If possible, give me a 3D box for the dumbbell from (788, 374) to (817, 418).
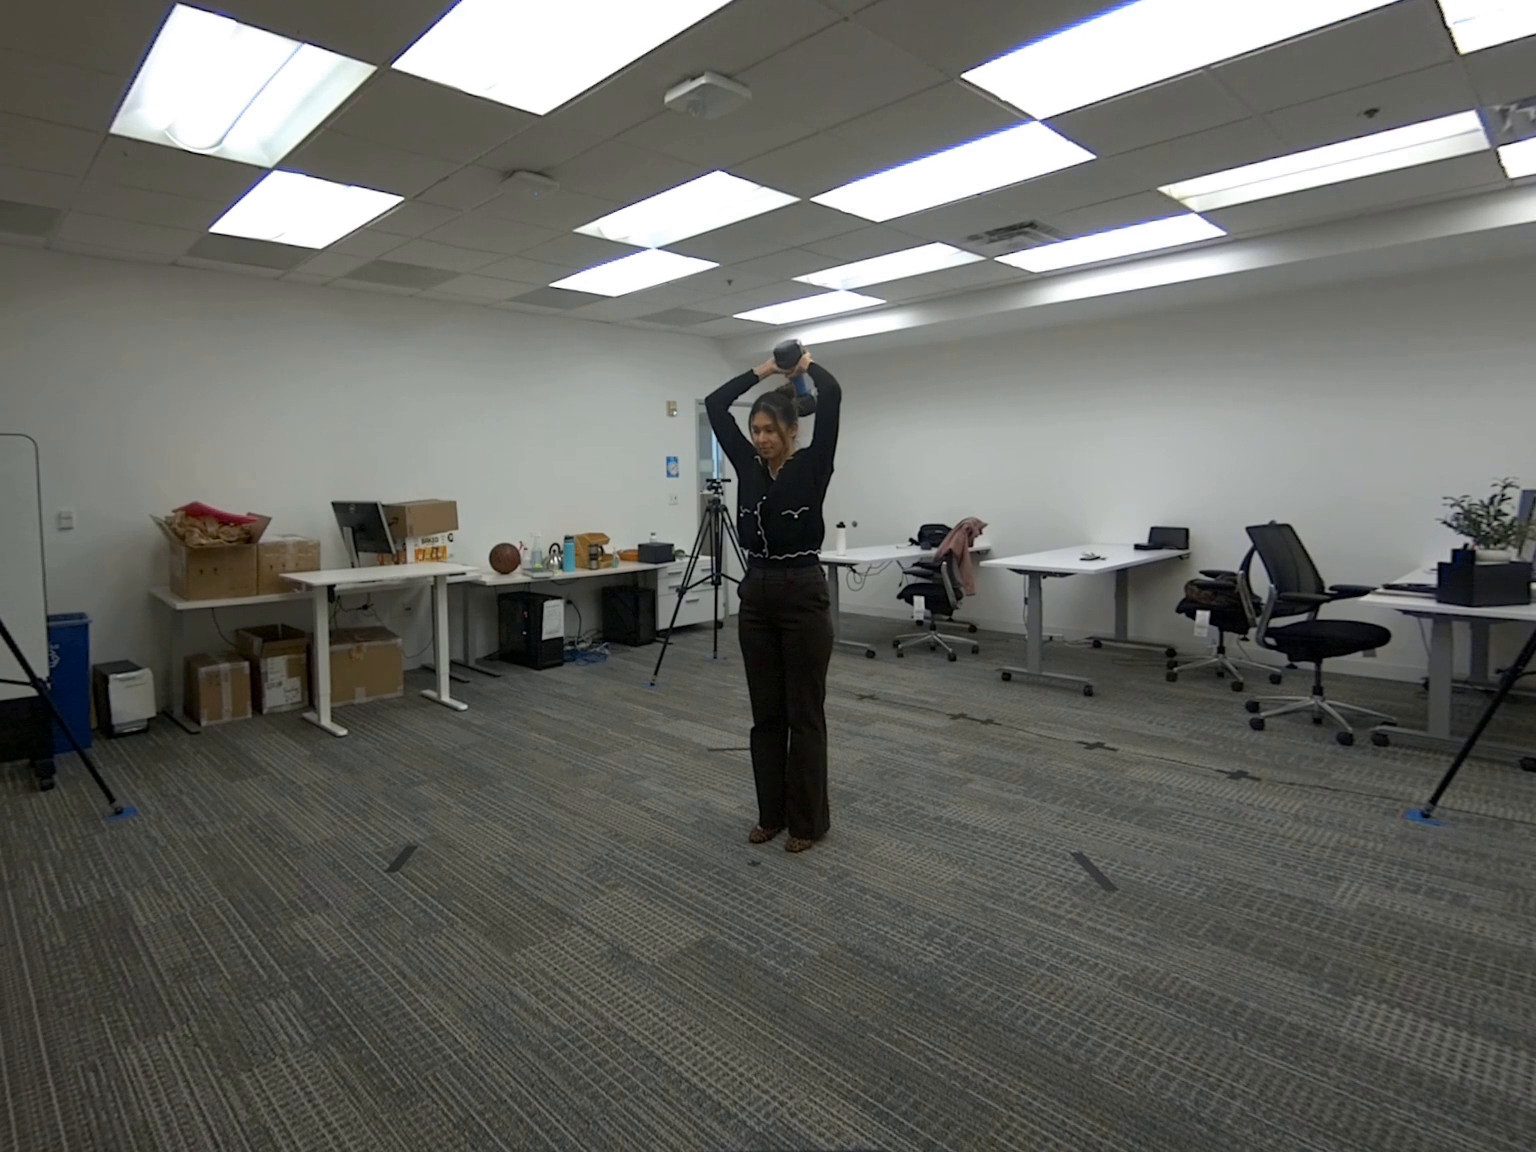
[{"bbox_3d":[0.114,-0.774,3.349,0.110,0.285,0.125,-10,28,16],"label":"dumbbell"}]
